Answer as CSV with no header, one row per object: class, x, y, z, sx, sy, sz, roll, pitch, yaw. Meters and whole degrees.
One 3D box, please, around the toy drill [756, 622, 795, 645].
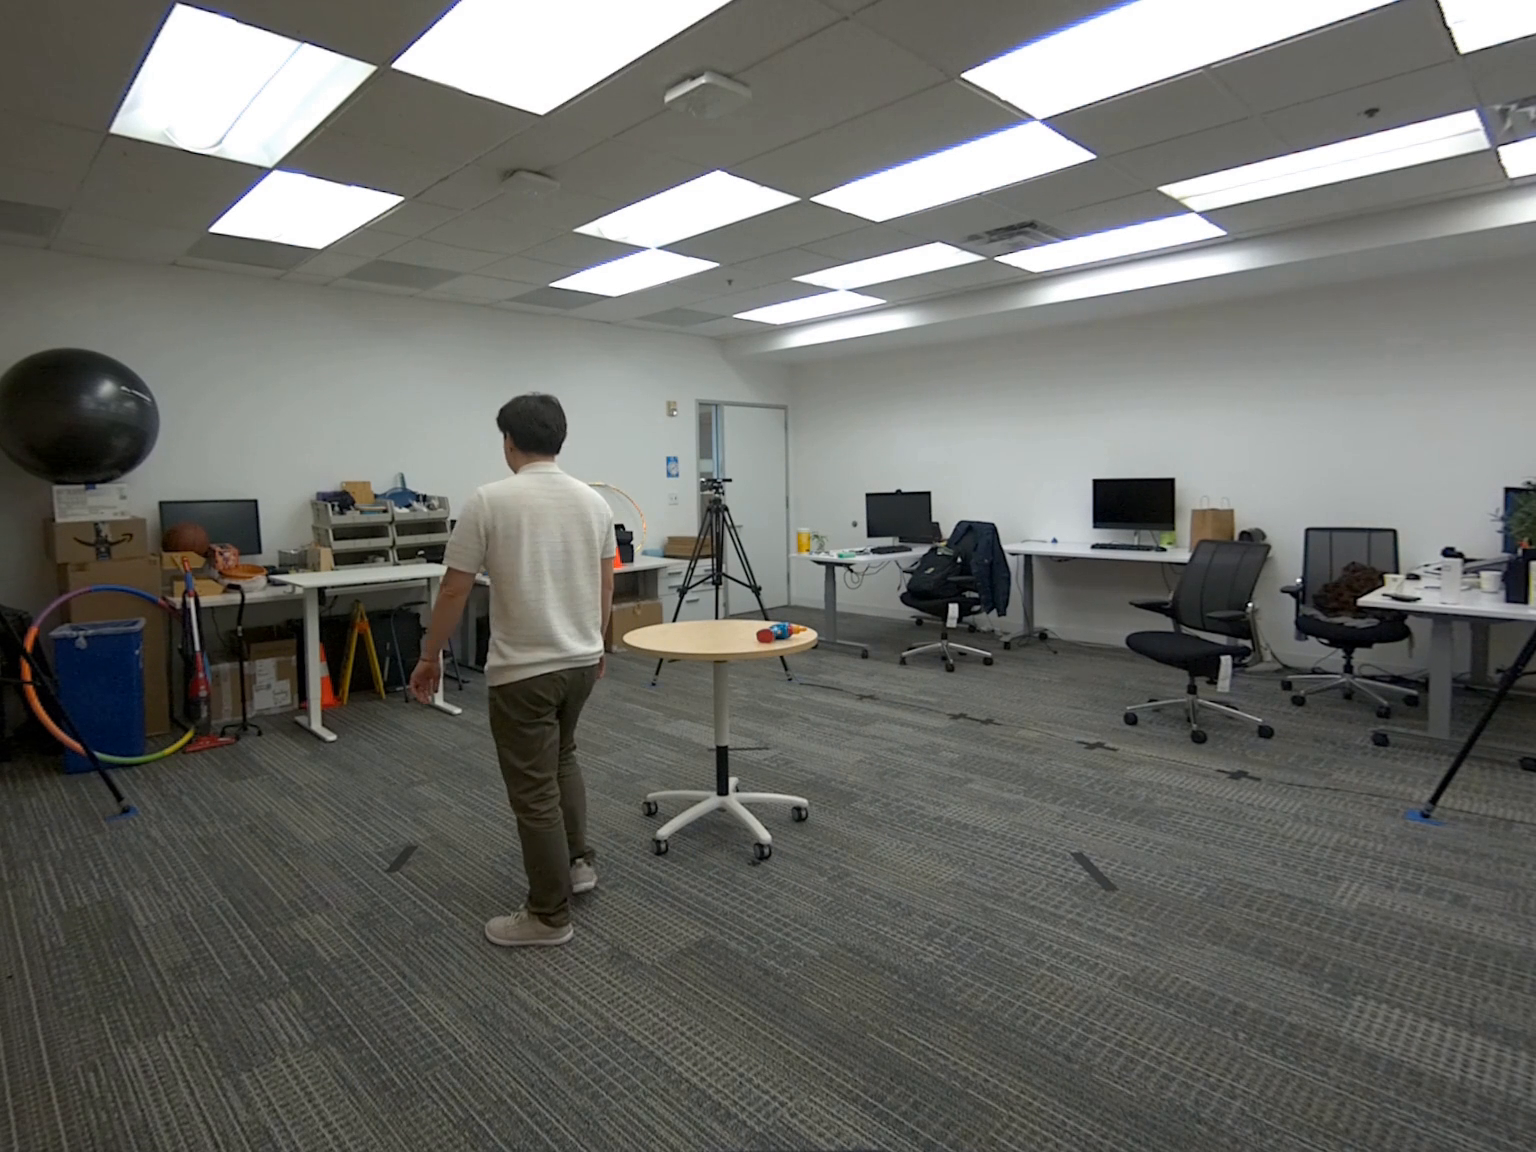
toy drill,0.057,0.213,3.221,0.174,0.061,0.143,-5,4,29
